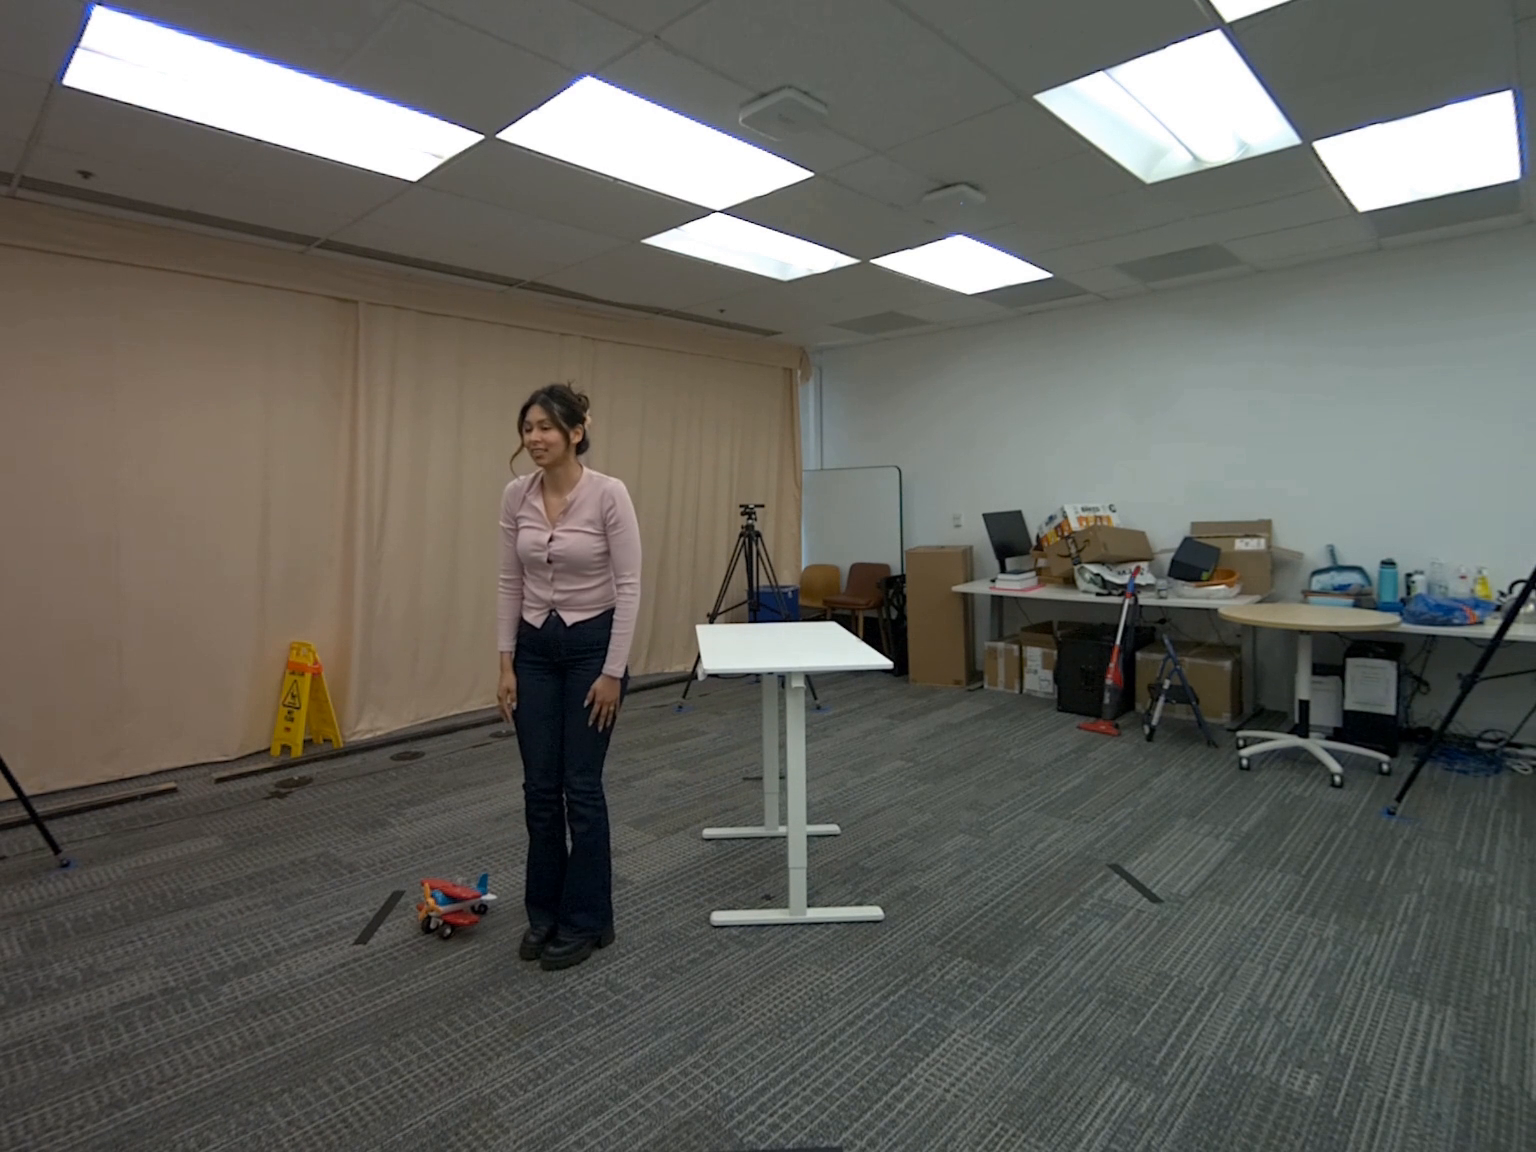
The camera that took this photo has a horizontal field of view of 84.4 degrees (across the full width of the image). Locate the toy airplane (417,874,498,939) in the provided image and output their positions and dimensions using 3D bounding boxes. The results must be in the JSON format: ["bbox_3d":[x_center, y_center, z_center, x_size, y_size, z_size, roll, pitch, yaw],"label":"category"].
[{"bbox_3d":[-1.074,1.109,2.836,0.252,0.156,0.259,-2,5,4],"label":"toy airplane"}]
